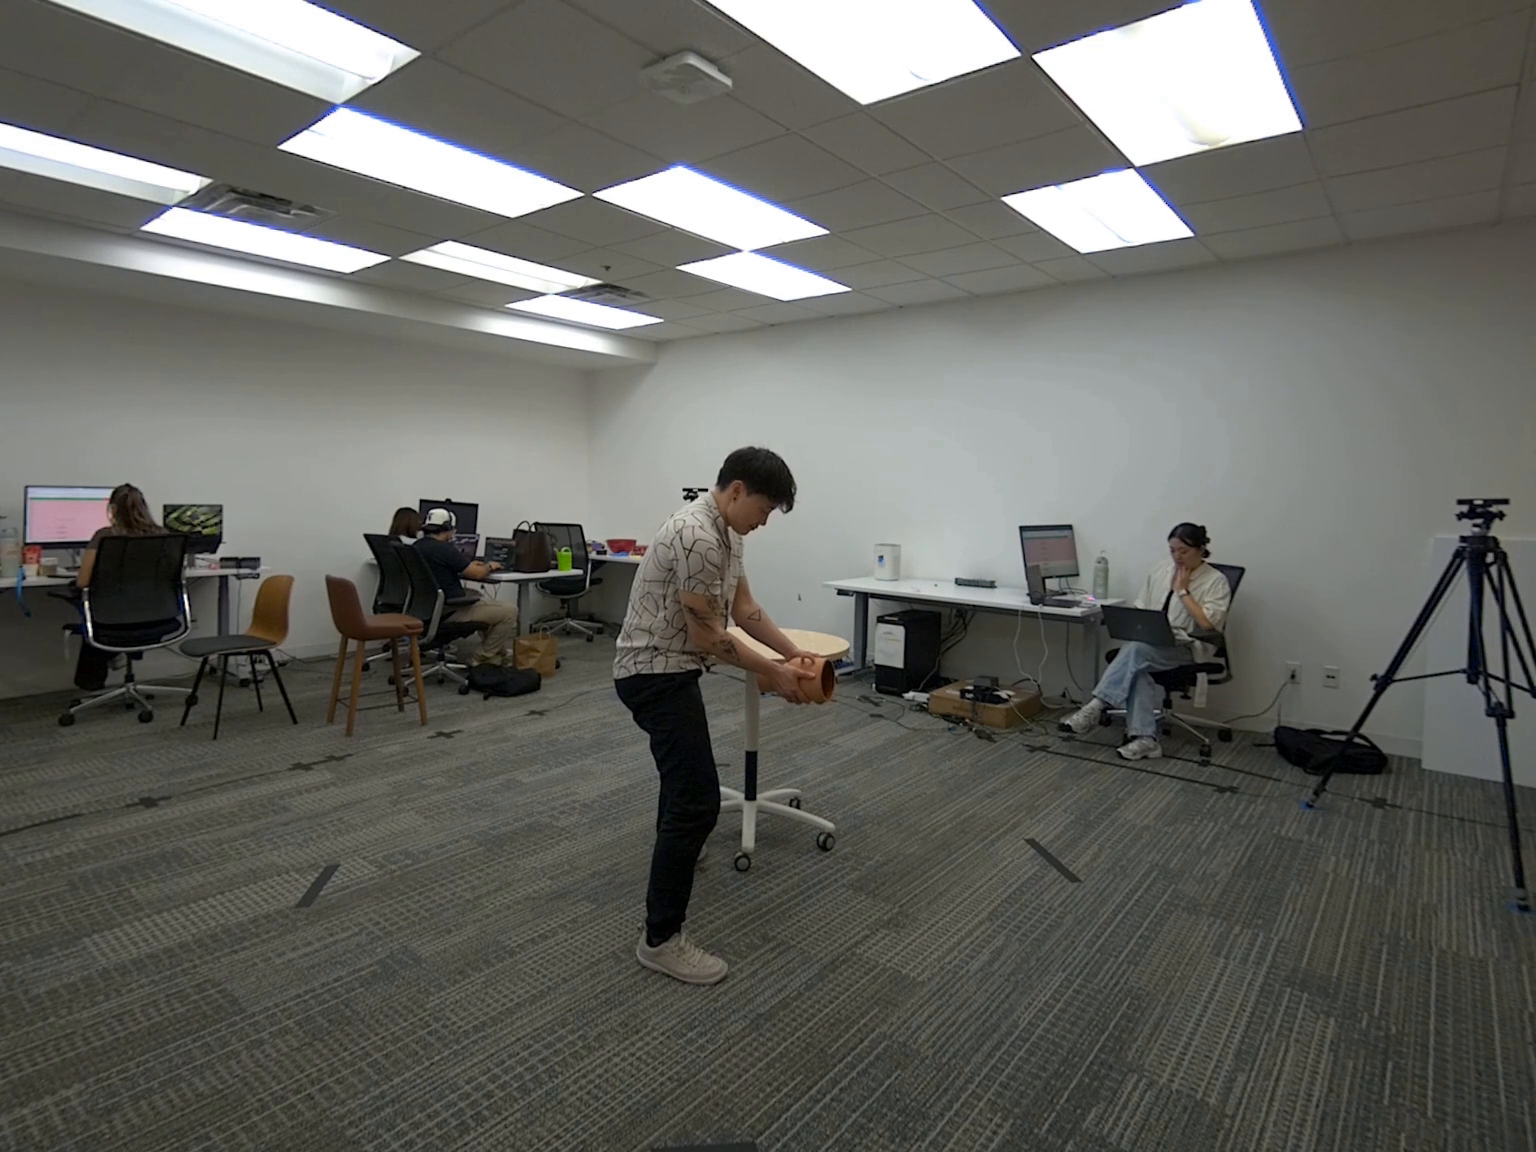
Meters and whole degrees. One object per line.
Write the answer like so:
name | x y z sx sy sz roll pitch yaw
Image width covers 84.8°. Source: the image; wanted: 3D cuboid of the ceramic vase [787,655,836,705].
ceramic vase | 0.082 0.320 2.647 0.225 0.160 0.130 -4 -8 25
